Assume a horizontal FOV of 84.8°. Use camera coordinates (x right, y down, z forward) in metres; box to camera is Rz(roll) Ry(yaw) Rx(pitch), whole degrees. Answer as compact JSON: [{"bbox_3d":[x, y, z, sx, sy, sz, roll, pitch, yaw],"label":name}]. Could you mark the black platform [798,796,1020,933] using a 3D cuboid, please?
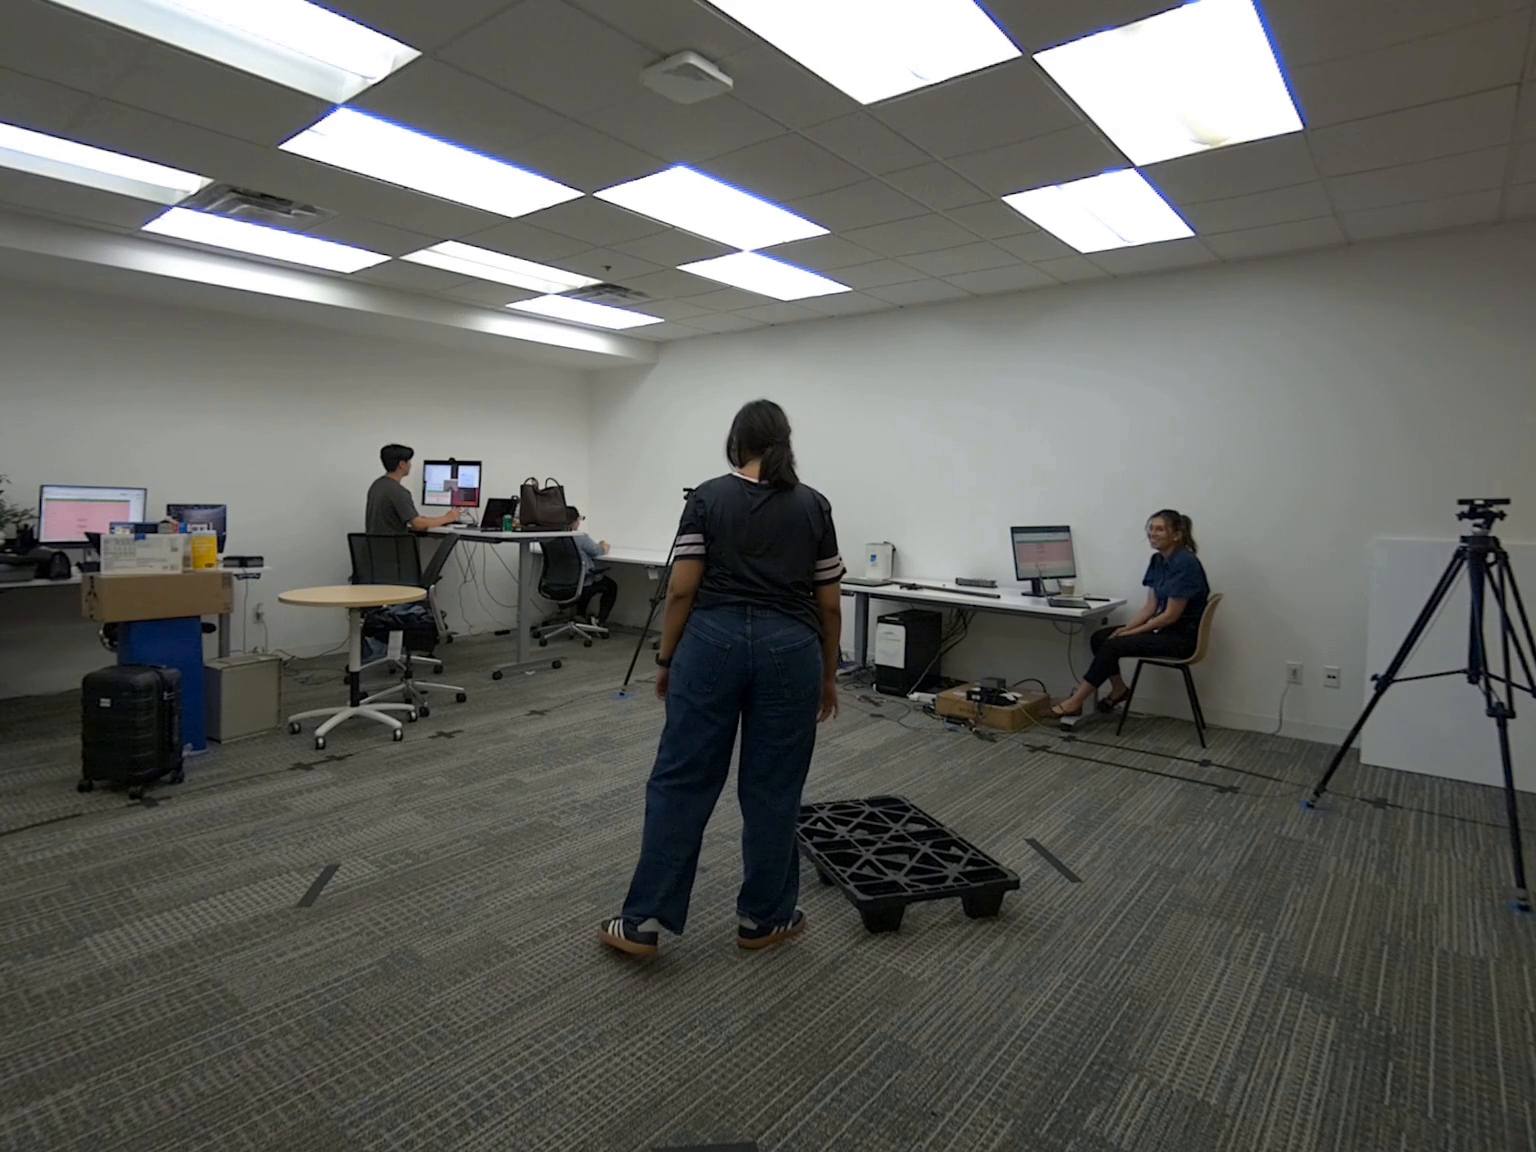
[{"bbox_3d":[0.412,1.017,3.093,0.593,0.143,0.824,0,6,-20],"label":"black platform"}]
